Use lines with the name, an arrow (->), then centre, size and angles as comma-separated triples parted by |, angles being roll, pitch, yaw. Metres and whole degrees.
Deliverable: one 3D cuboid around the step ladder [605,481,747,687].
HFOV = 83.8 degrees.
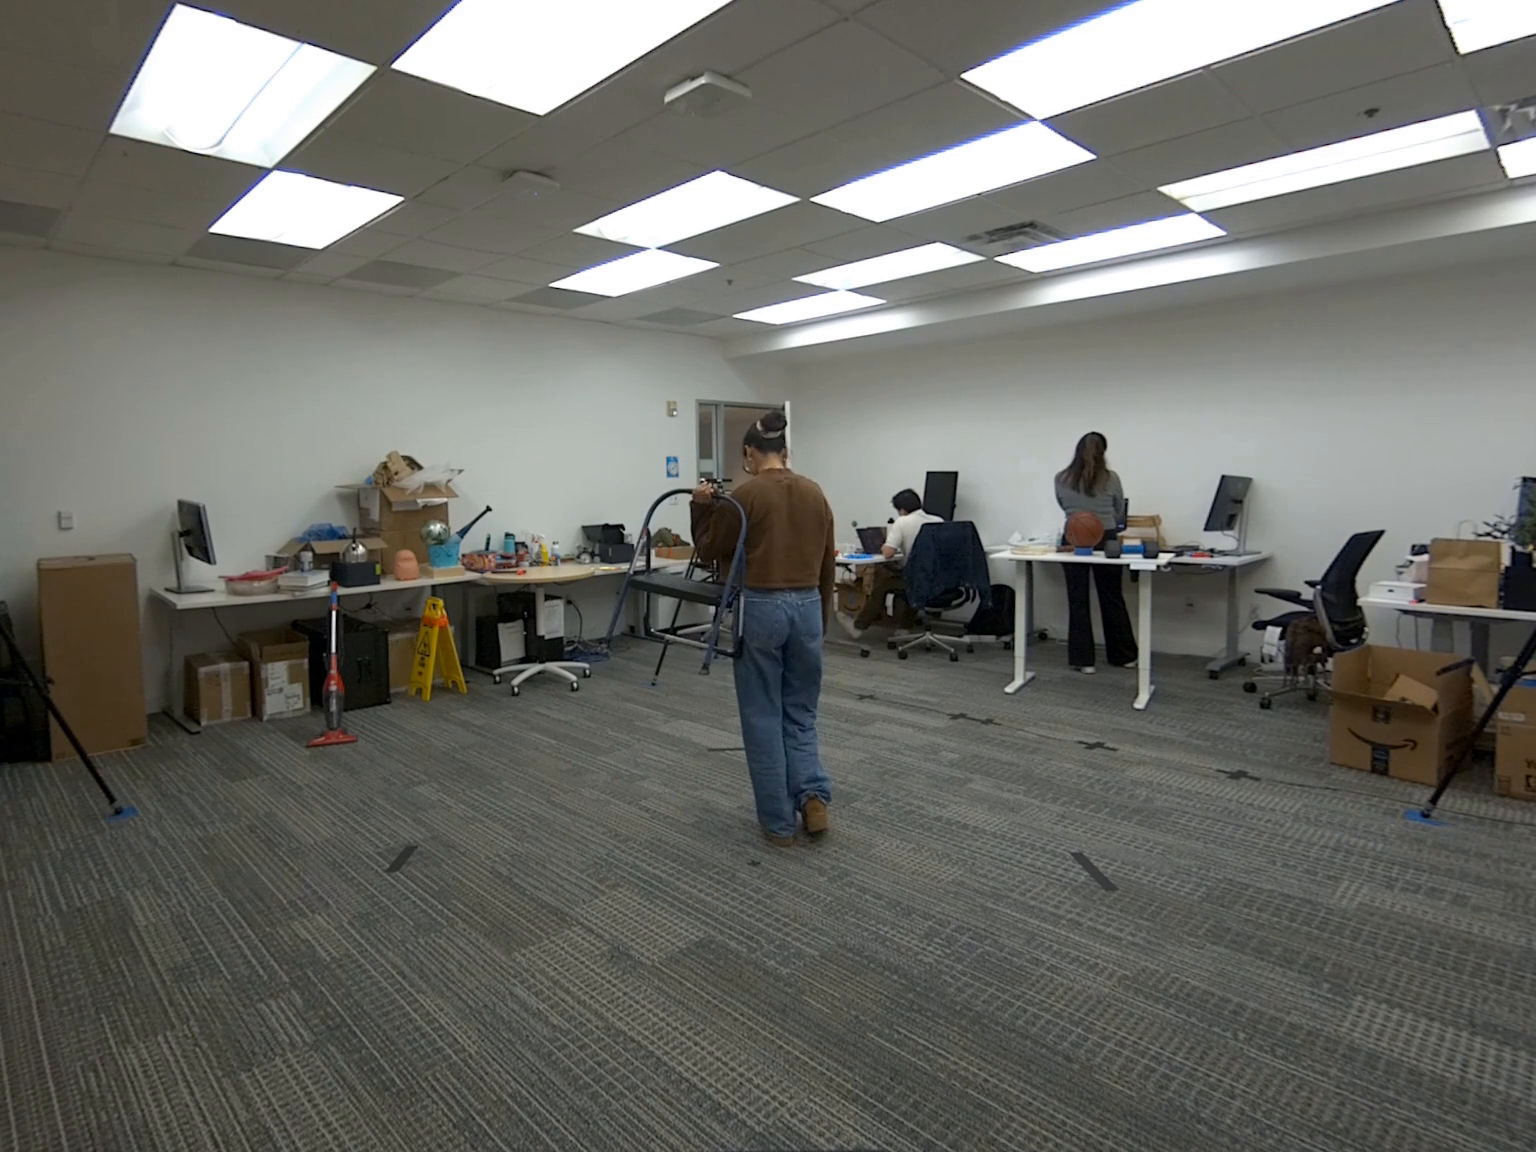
step ladder -> -0.298, -0.006, 3.108 | 0.440, 0.603, 0.343 | 10, 7, 20
